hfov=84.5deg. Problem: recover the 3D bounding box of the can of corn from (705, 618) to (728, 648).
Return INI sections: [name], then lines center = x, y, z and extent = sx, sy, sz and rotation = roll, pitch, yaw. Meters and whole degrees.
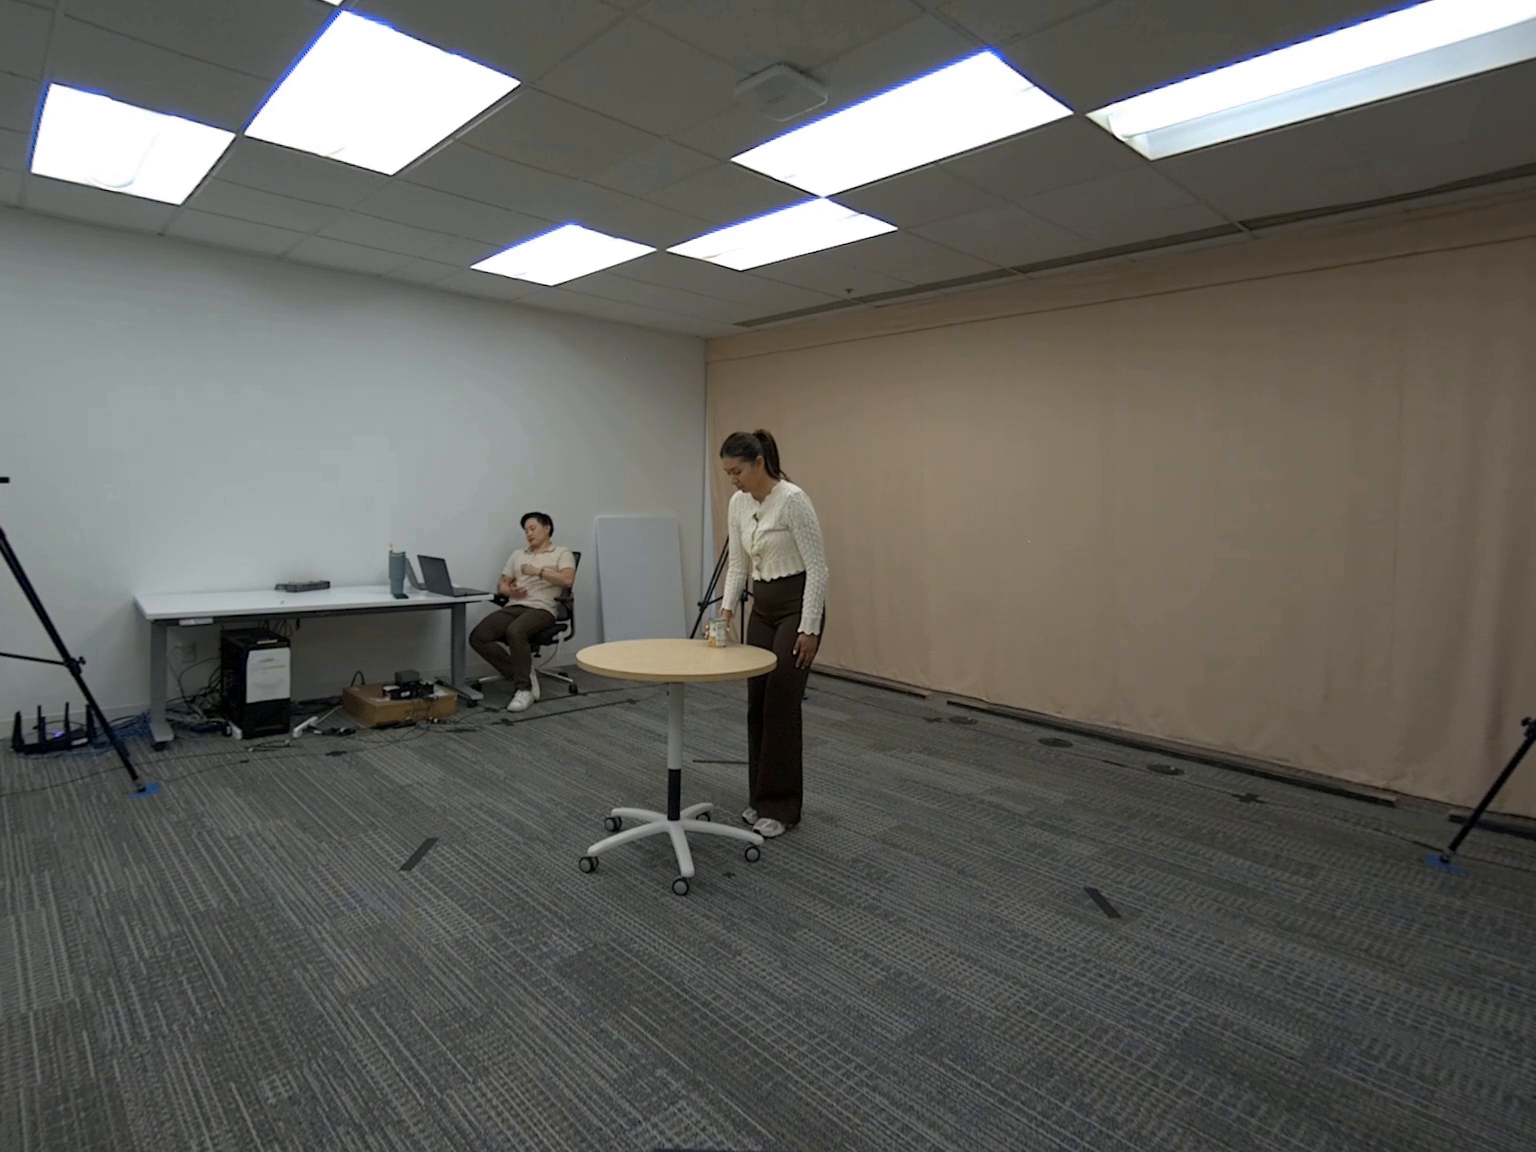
[can of corn]
center = -0.218, 0.235, 3.443
extent = 0.074, 0.111, 0.074
rotation = 1, 3, -1
